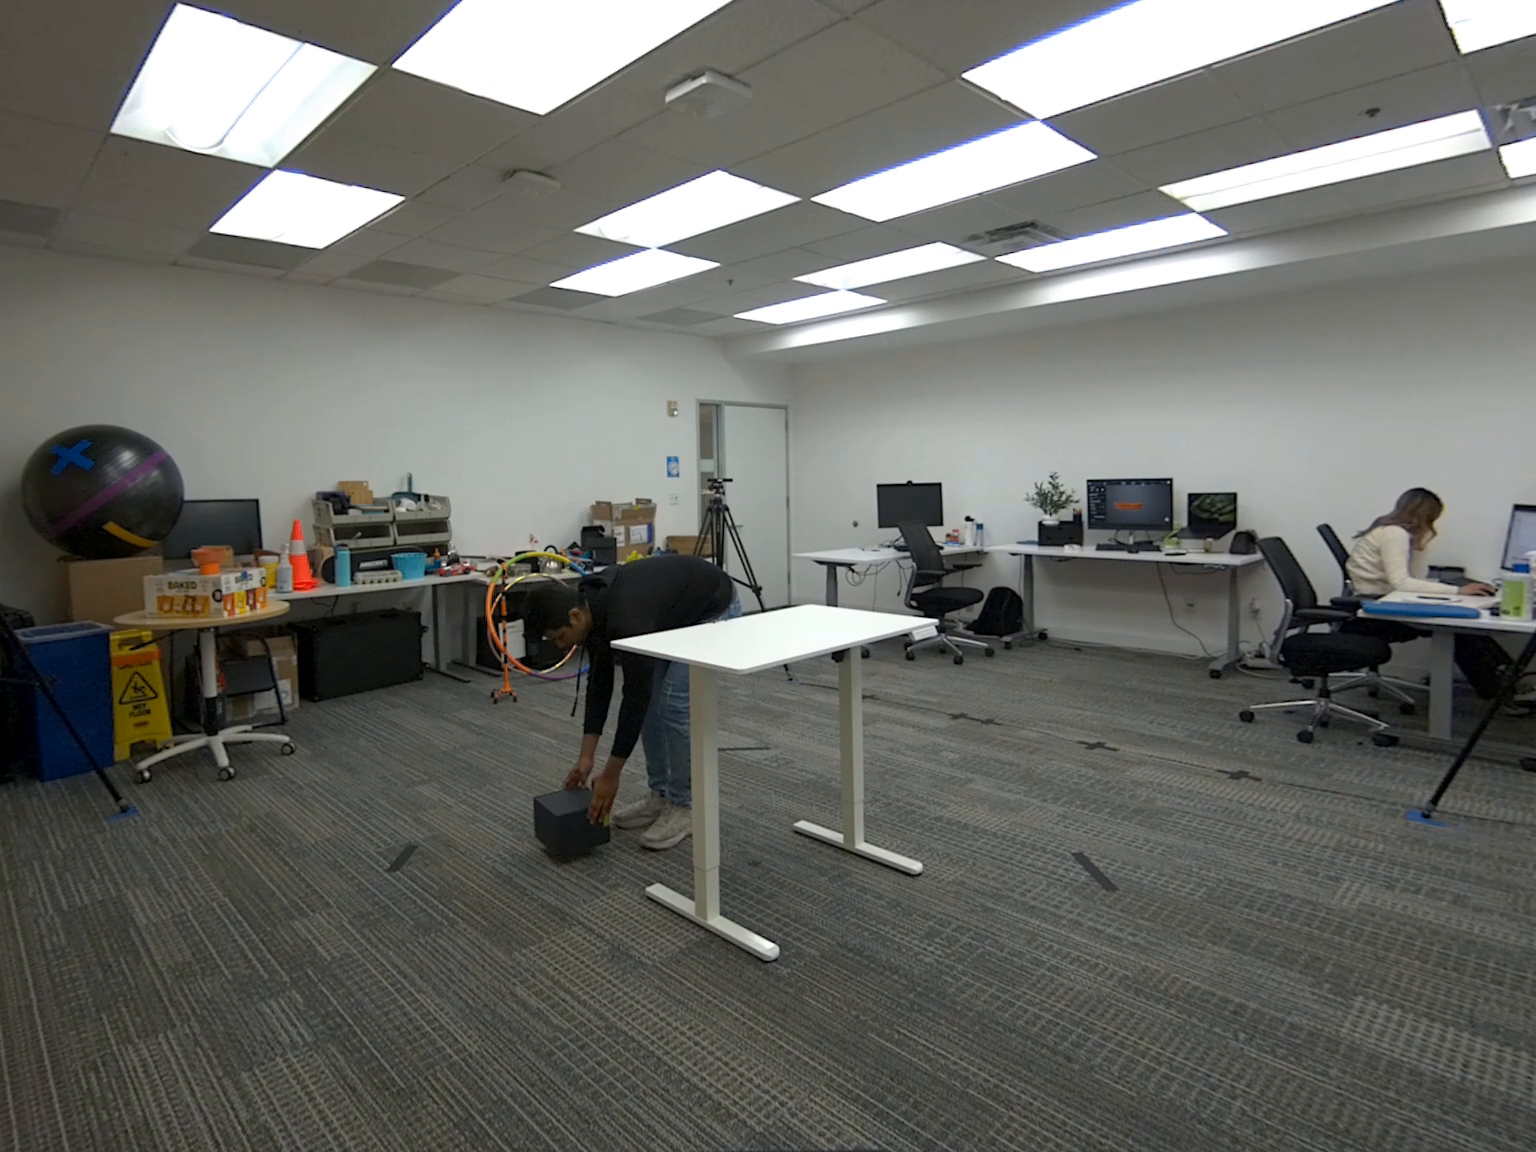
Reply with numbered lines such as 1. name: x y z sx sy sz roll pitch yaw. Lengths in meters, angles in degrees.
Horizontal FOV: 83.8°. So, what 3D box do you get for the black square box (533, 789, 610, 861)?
1. black square box: -0.742 0.907 3.231 0.211 0.155 0.235 -5 7 -36
